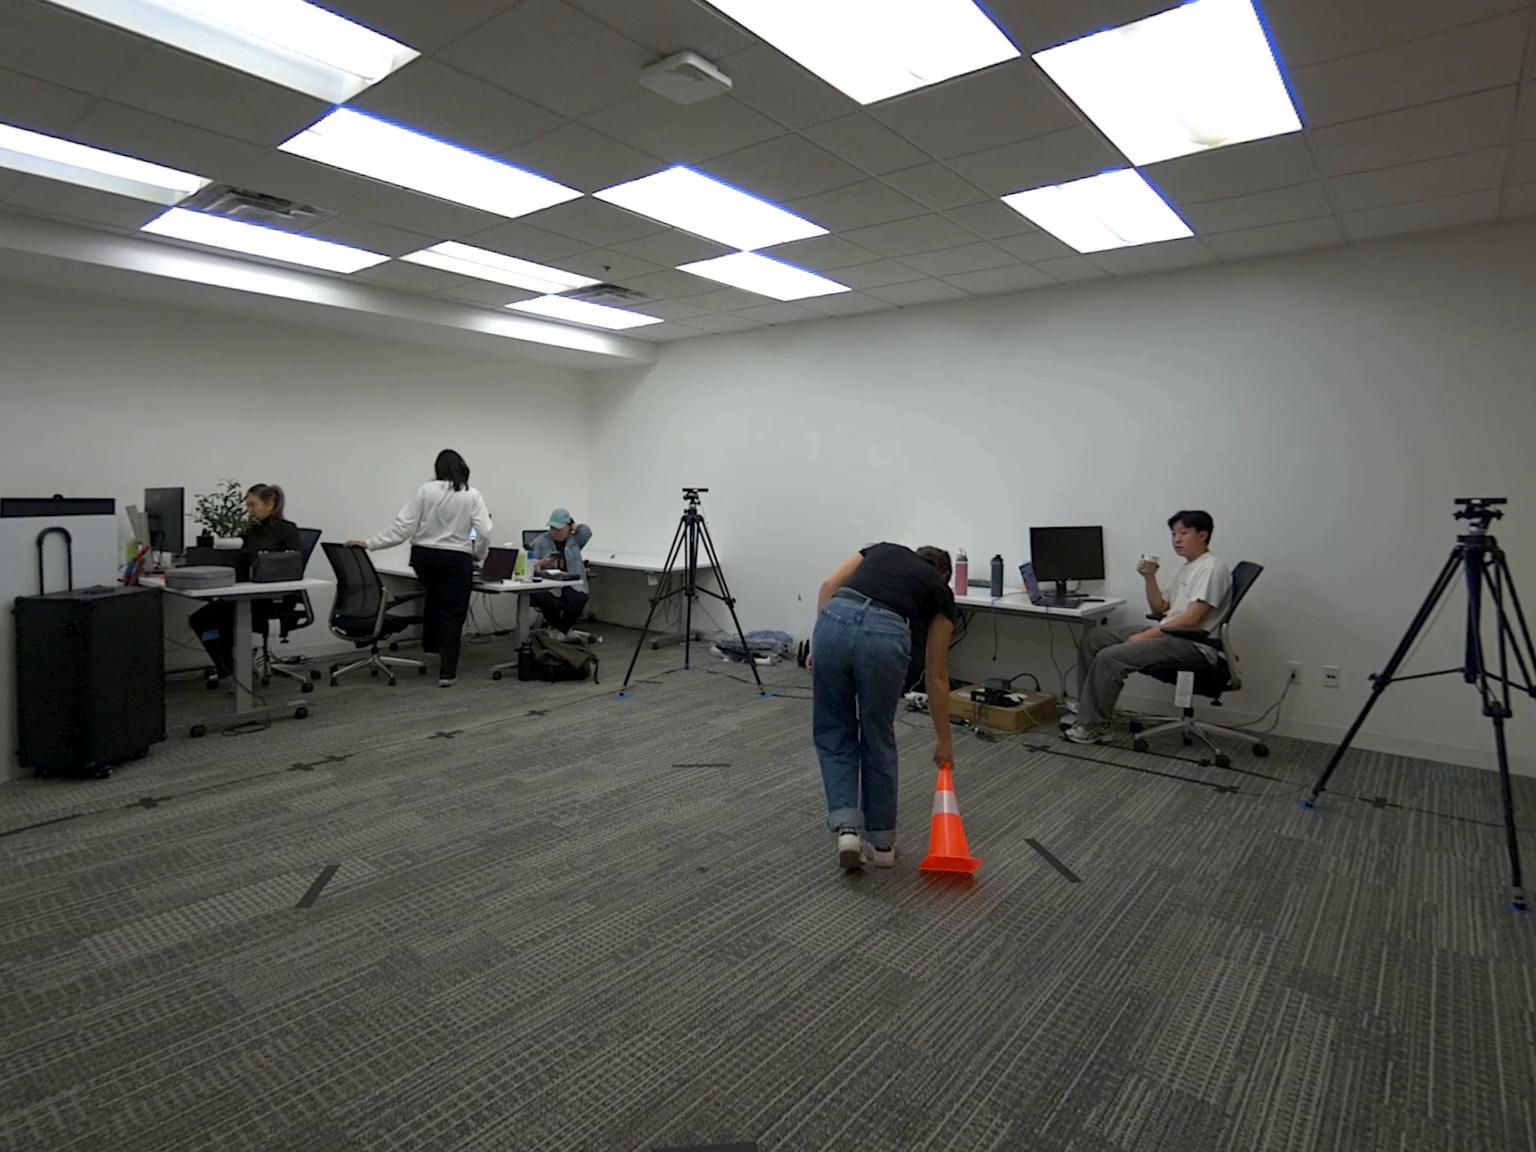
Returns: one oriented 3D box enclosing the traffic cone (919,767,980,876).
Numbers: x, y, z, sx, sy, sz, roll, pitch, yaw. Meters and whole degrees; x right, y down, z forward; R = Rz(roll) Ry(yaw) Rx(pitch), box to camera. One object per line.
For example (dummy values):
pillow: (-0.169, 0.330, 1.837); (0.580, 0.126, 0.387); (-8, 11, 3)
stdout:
traffic cone: (0.667, 0.873, 3.164); (0.203, 0.393, 0.200); (4, -33, 0)
